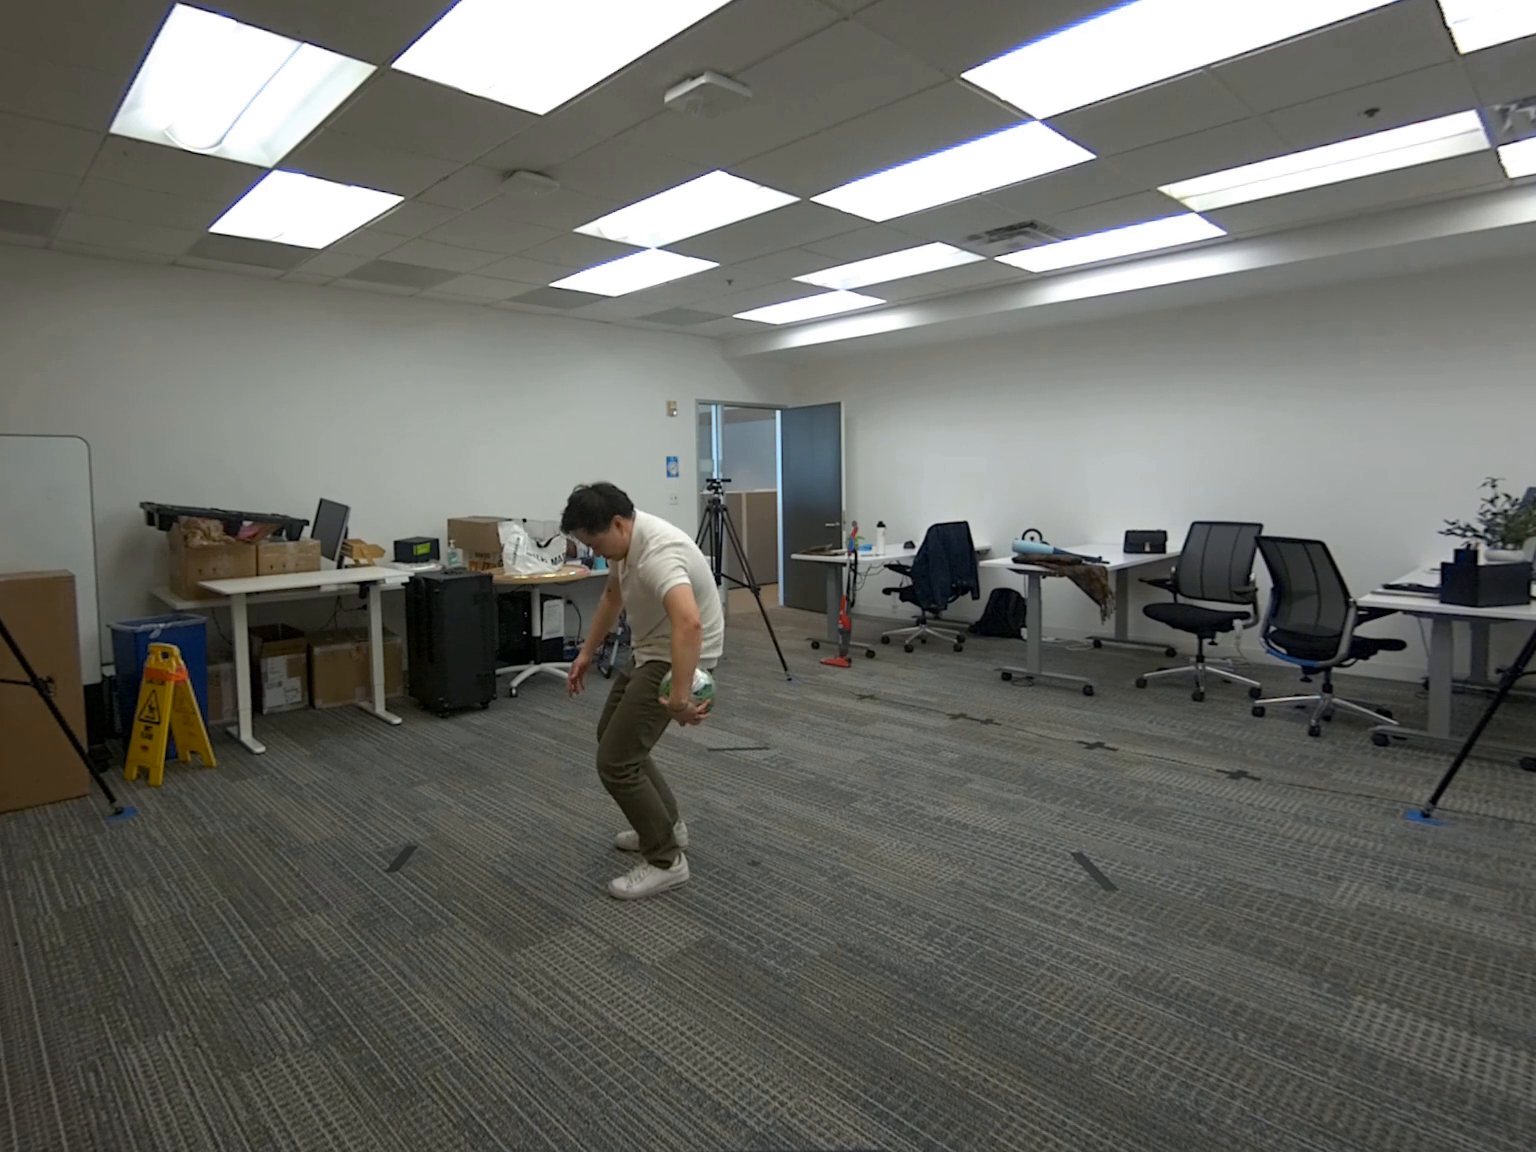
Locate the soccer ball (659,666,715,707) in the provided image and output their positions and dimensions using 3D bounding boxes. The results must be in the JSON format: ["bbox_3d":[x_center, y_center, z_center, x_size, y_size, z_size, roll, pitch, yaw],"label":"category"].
[{"bbox_3d":[-0.262,0.376,2.734,0.187,0.187,0.188,-1,5,-2],"label":"soccer ball"}]
